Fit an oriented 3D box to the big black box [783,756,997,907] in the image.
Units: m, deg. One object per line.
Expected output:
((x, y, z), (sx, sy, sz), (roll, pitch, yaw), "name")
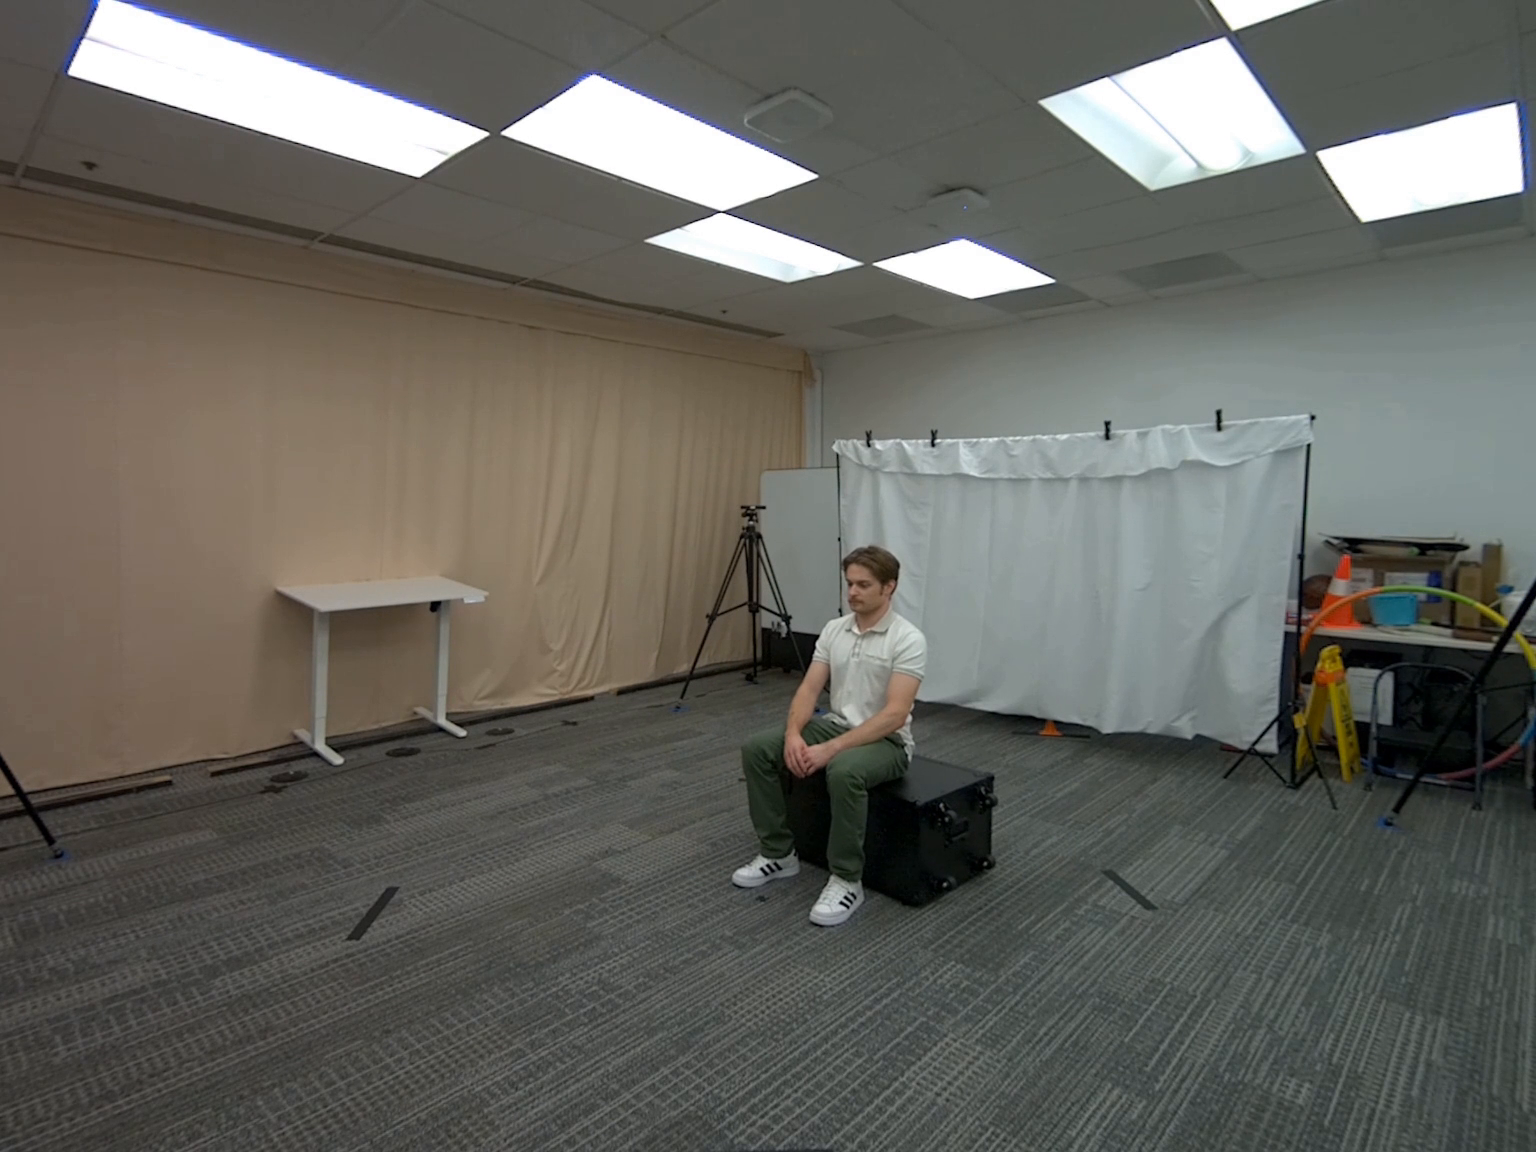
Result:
((0.431, 0.924, 3.291), (0.507, 0.384, 0.897), (-2, 5, -44), "big black box")
